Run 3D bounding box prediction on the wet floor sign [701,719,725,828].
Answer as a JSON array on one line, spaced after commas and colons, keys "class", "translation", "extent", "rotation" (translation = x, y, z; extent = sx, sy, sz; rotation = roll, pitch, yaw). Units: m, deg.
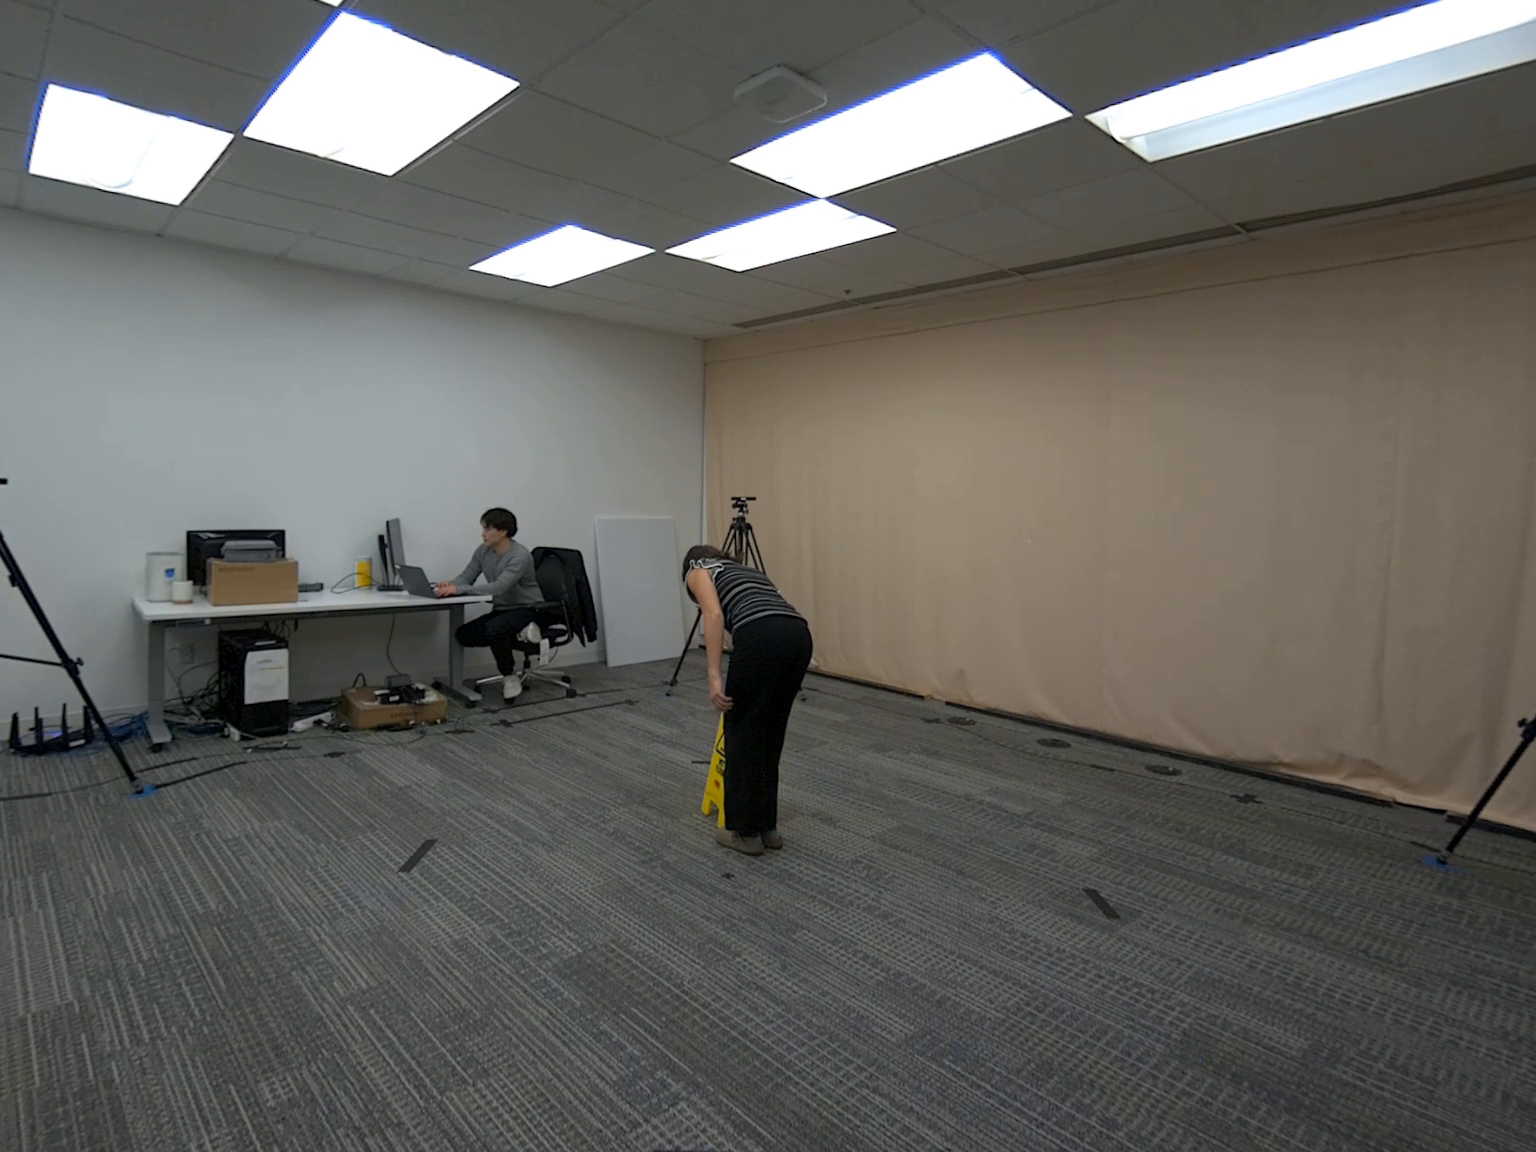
[{"class": "wet floor sign", "translation": [-0.128, 0.739, 3.663], "extent": [0.285, 0.645, 0.287], "rotation": [1, 3, -21]}]
